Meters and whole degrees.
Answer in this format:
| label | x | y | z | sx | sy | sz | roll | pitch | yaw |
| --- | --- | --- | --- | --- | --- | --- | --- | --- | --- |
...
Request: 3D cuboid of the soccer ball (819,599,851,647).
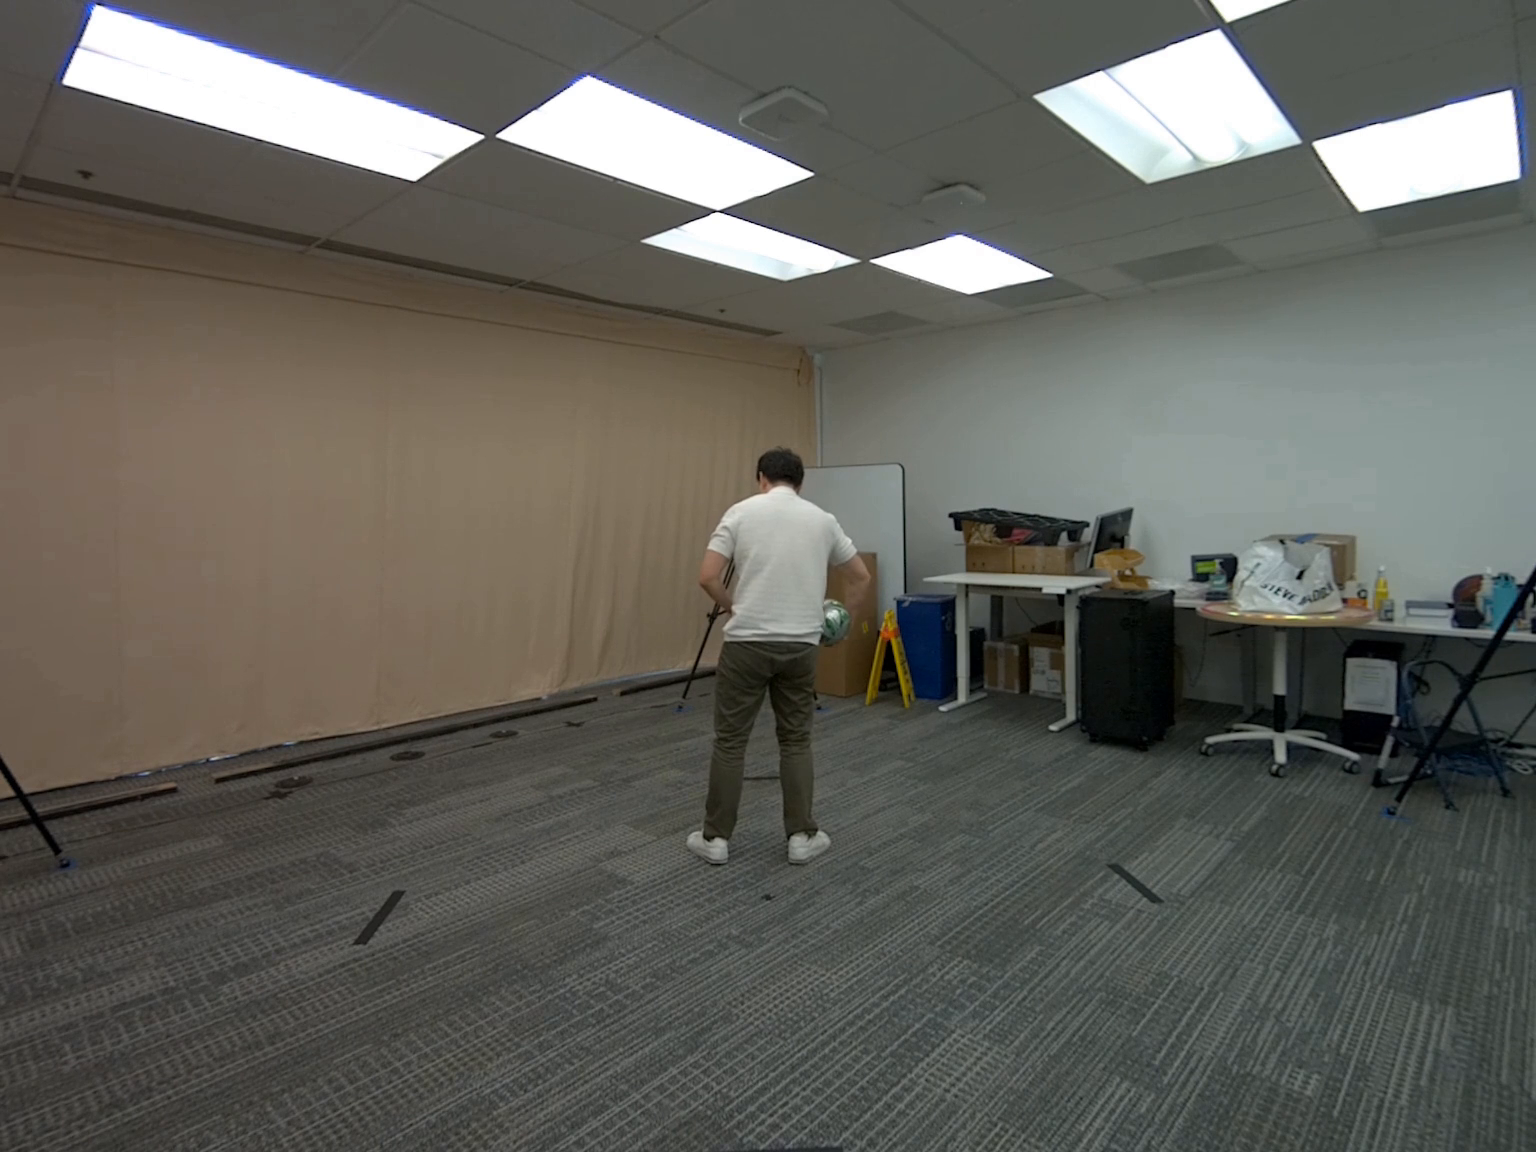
| label | x | y | z | sx | sy | sz | roll | pitch | yaw |
| --- | --- | --- | --- | --- | --- | --- | --- | --- | --- |
| soccer ball | 0.251 | 0.192 | 3.480 | 0.187 | 0.187 | 0.188 | -1 | 4 | -2 |
